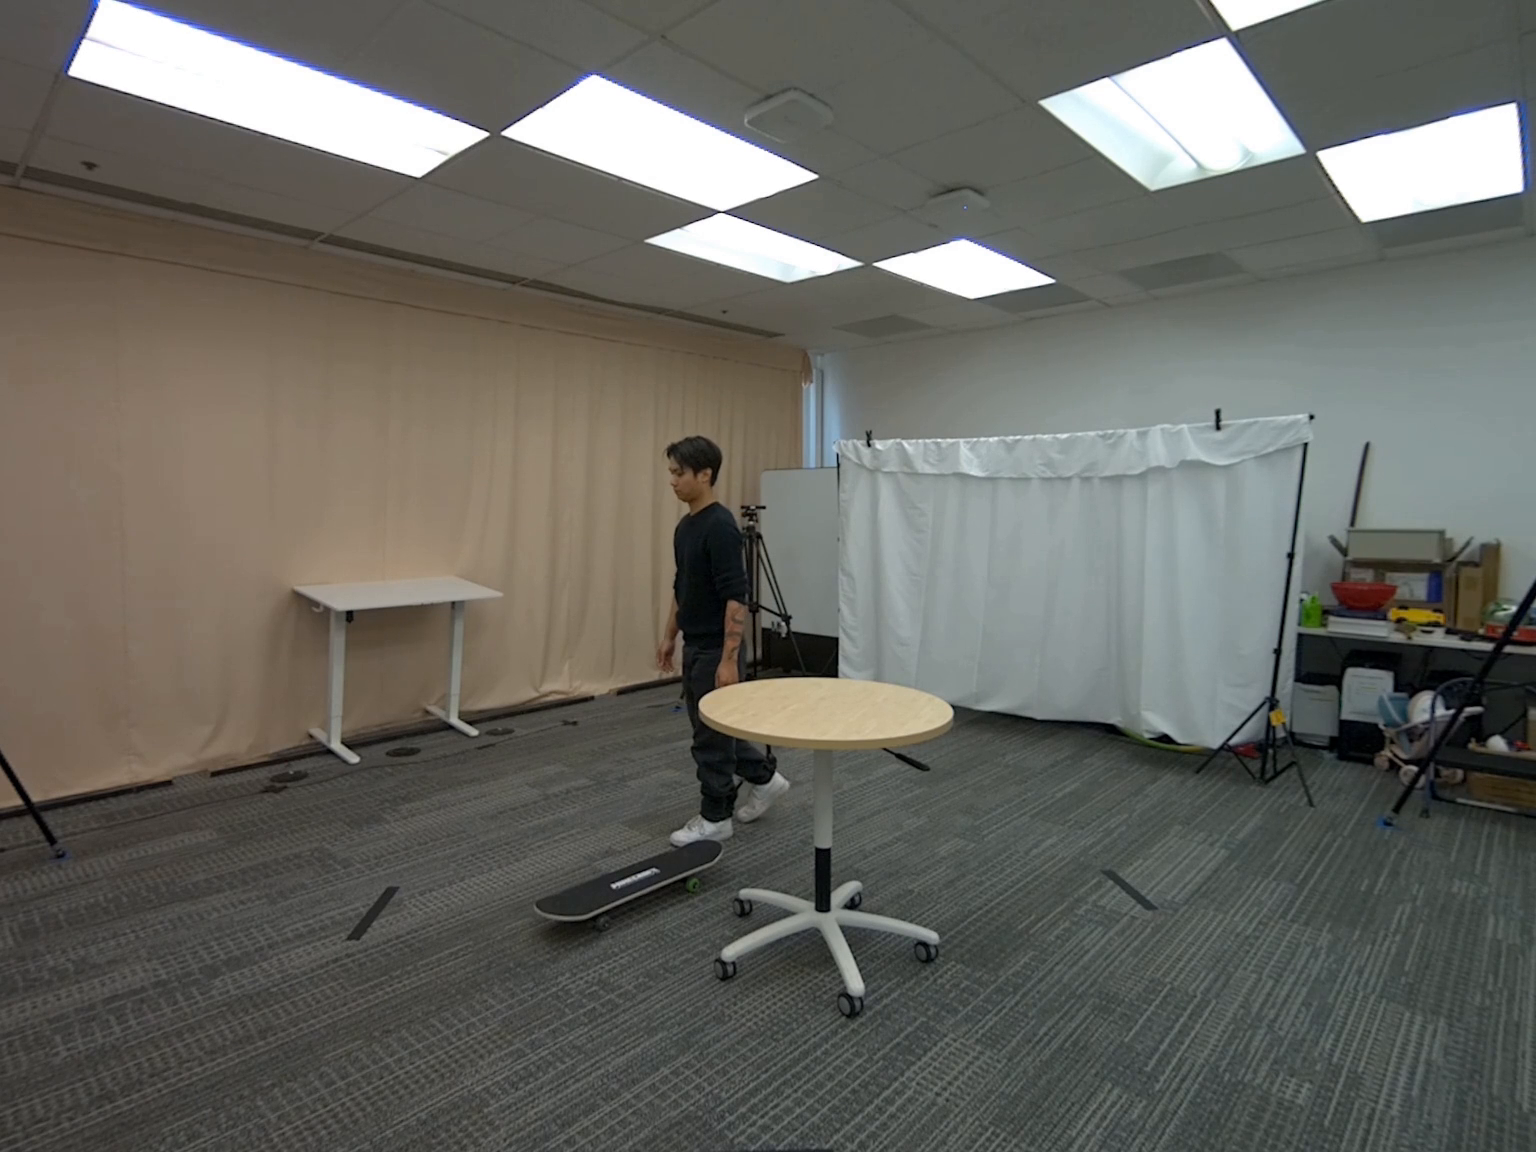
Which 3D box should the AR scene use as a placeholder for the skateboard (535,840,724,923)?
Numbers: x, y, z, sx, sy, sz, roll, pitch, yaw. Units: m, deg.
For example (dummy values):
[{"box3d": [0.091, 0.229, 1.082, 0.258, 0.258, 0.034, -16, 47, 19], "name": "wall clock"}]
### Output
[{"box3d": [-0.471, 1.100, 2.954, 0.200, 0.110, 0.761, 3, 6, 45], "name": "skateboard"}]
